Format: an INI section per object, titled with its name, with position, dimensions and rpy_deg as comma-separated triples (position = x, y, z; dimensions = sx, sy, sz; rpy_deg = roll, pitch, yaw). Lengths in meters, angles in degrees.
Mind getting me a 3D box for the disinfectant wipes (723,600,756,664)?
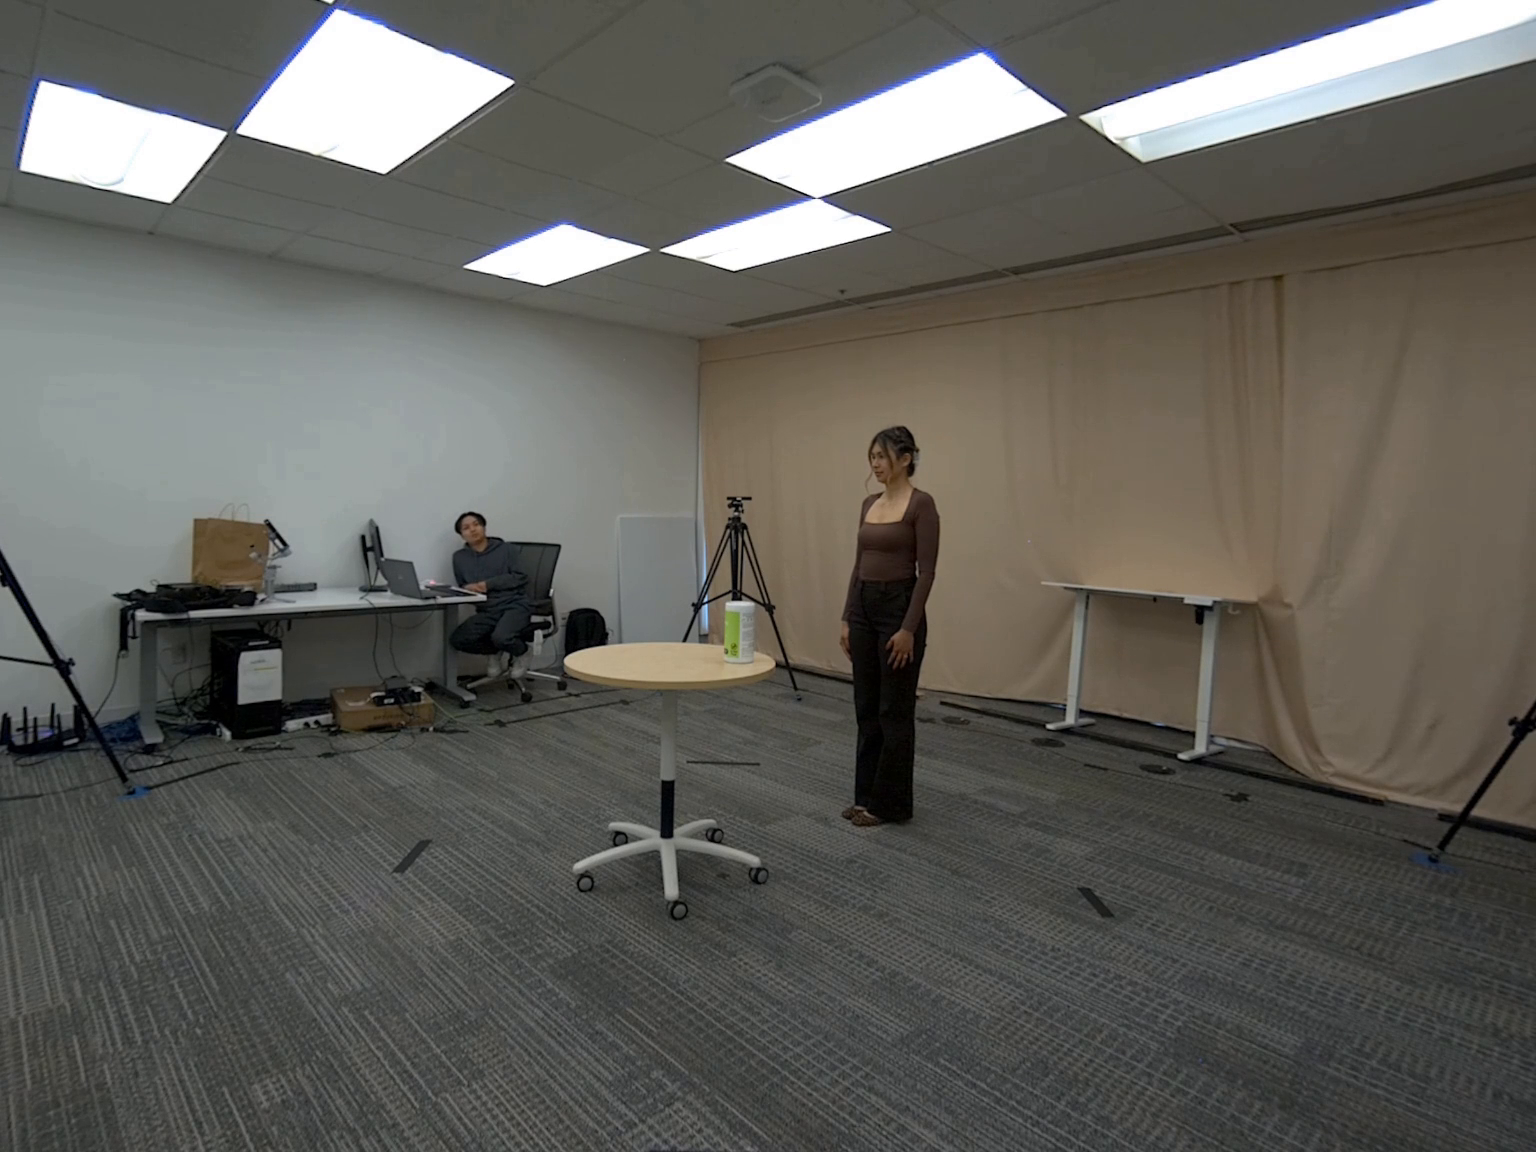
[disinfectant wipes]
position = -0.106, 0.208, 3.065
dimensions = 0.118, 0.217, 0.118
rpy_deg = 1, 3, -1
